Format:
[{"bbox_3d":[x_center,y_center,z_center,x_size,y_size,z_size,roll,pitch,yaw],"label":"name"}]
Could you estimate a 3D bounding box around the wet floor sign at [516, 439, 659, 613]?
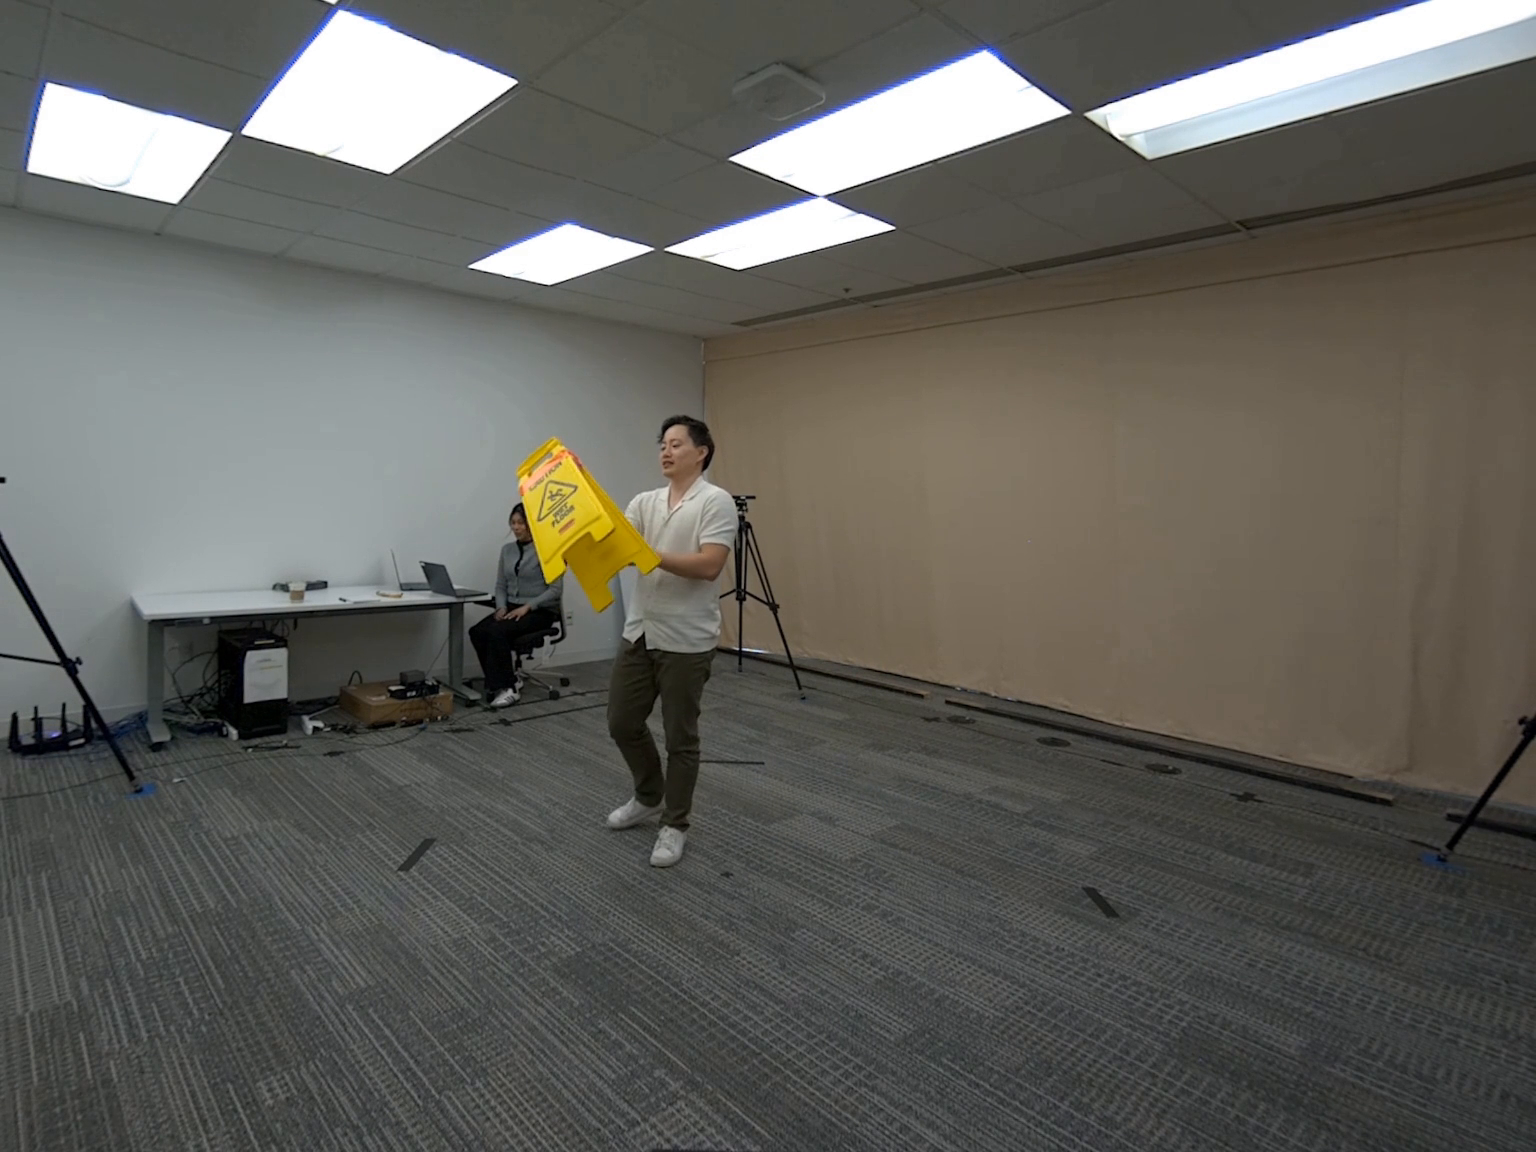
[{"bbox_3d":[-0.694,-0.224,2.883,0.665,0.282,0.281,53,7,34],"label":"wet floor sign"}]
